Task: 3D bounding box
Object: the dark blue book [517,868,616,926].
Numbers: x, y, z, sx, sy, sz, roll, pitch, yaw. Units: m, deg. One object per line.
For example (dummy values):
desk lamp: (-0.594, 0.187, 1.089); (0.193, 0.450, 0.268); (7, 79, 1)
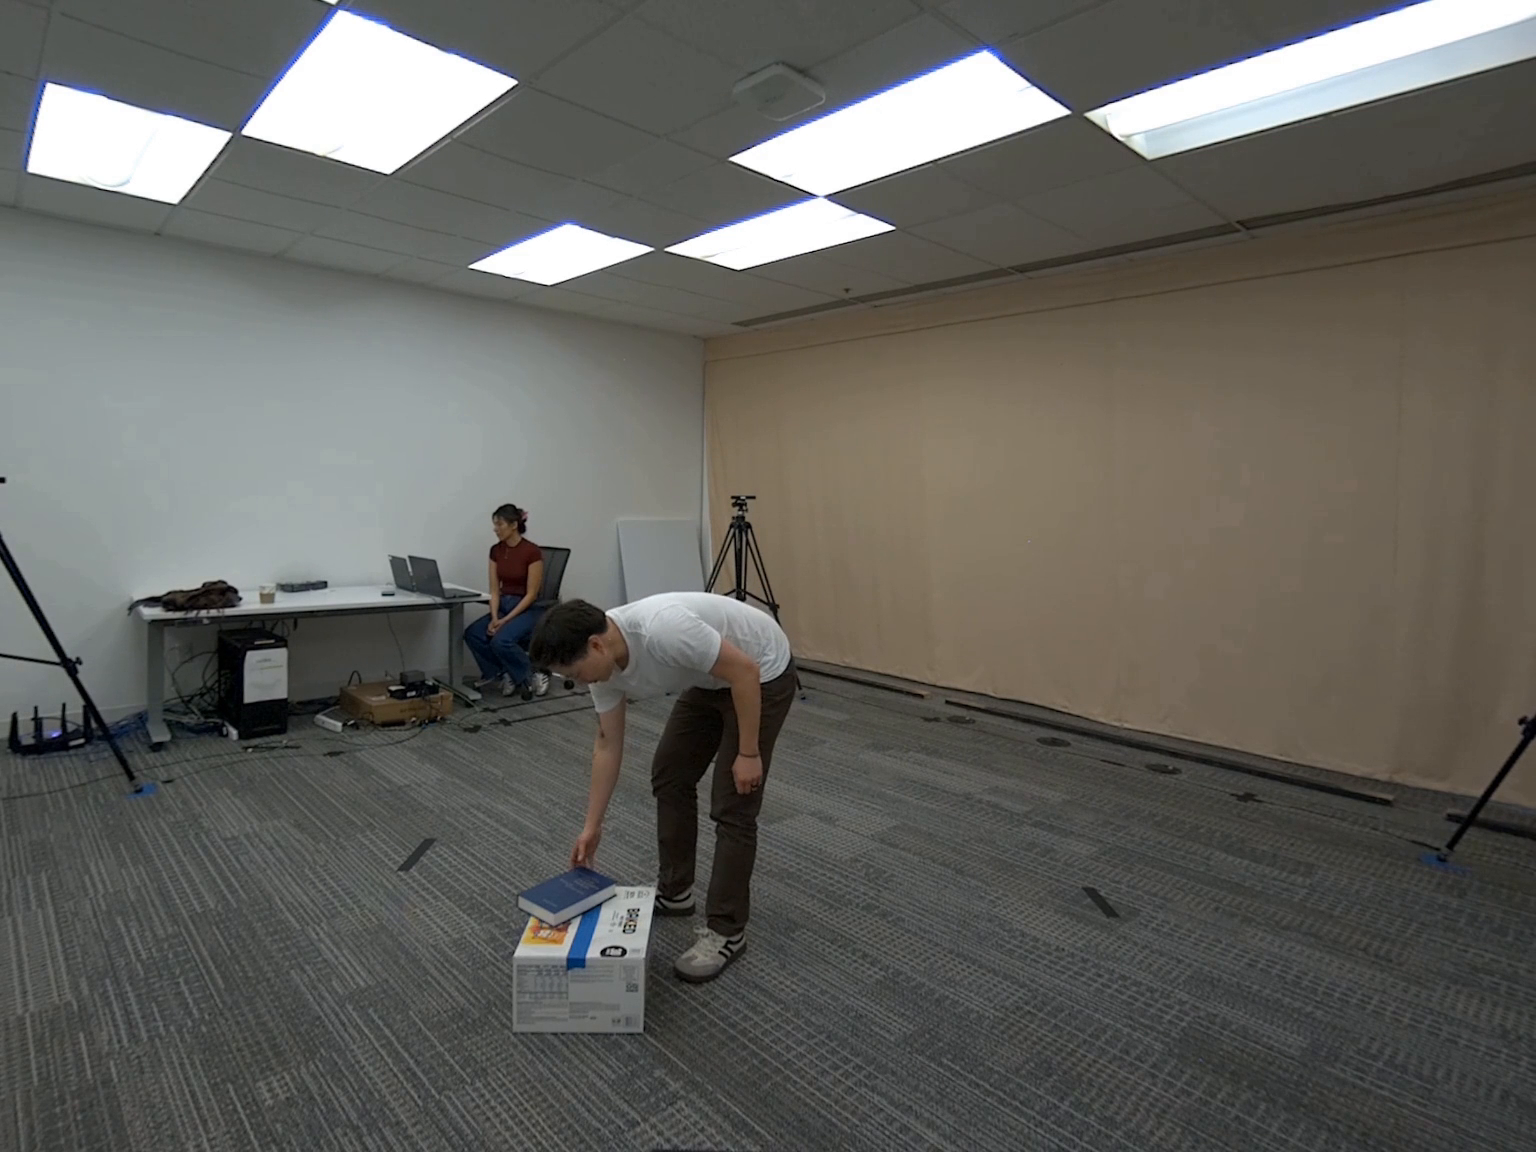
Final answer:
dark blue book: (-0.585, 0.932, 2.450); (0.167, 0.045, 0.240); (8, 8, 35)
